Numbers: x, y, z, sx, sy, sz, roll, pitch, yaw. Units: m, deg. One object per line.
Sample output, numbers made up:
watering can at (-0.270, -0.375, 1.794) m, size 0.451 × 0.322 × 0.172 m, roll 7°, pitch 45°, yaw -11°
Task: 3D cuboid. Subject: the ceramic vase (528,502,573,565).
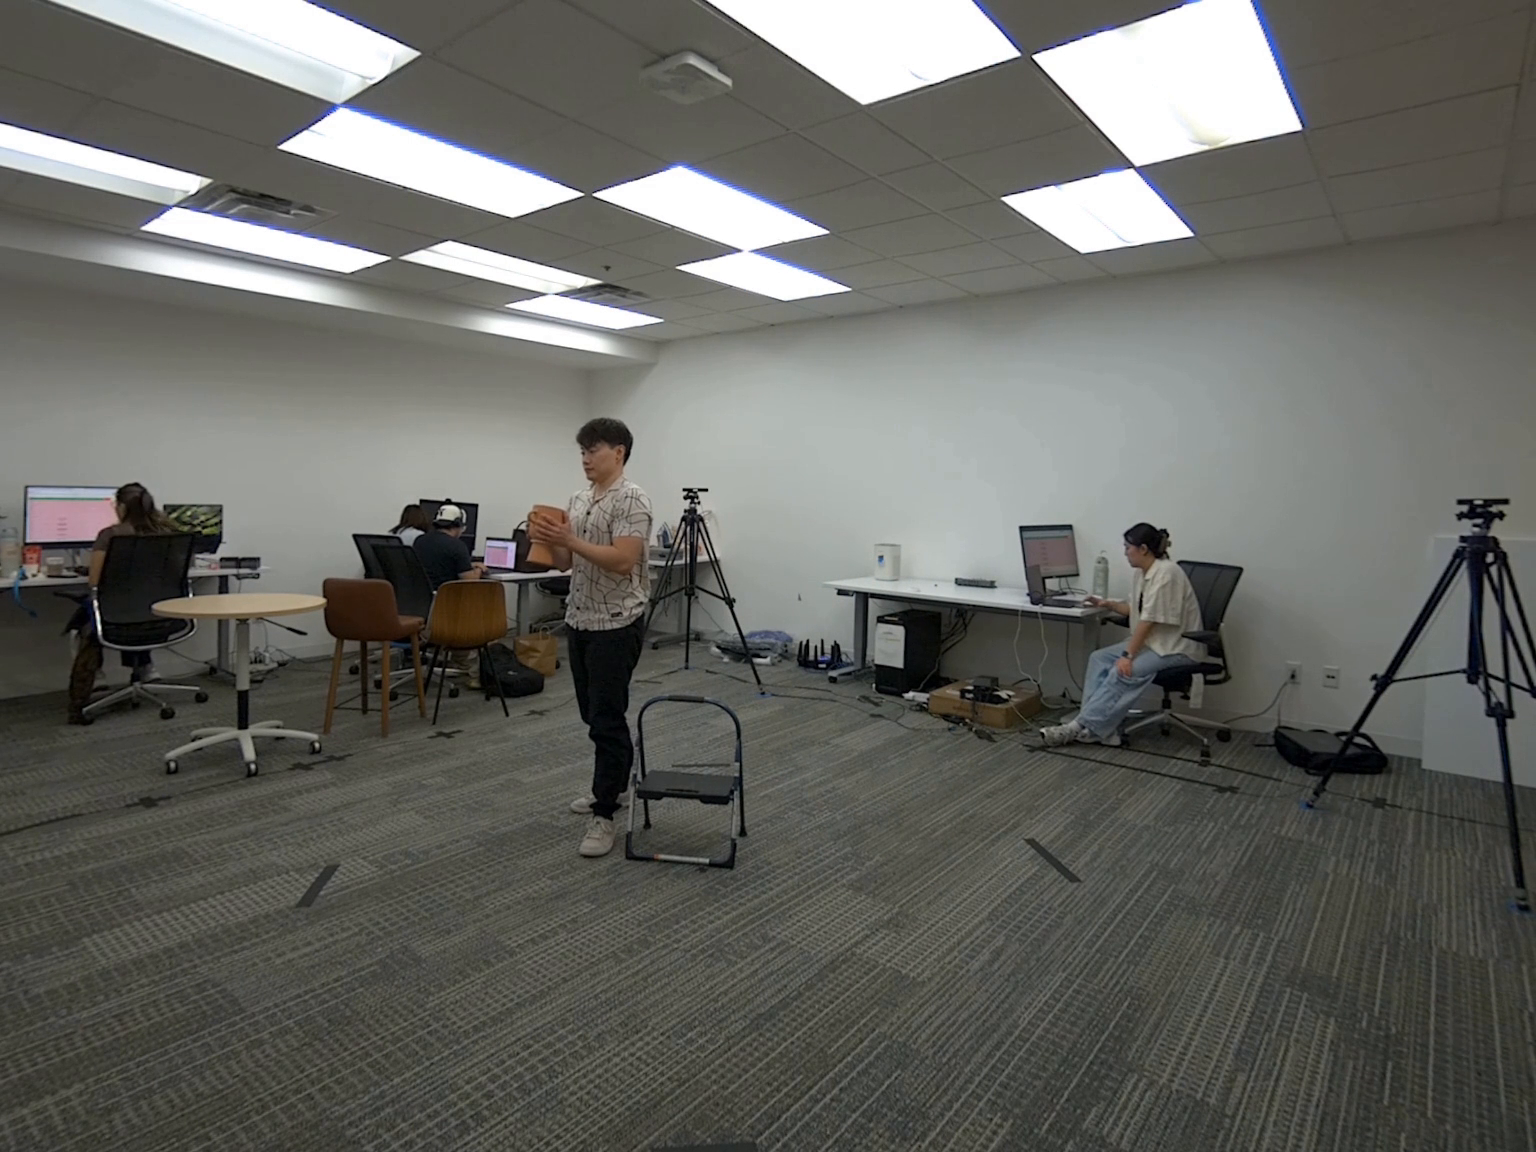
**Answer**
ceramic vase at (-0.852, -0.164, 3.327) m, size 0.156 × 0.221 × 0.136 m, roll 9°, pitch -7°, yaw -13°
